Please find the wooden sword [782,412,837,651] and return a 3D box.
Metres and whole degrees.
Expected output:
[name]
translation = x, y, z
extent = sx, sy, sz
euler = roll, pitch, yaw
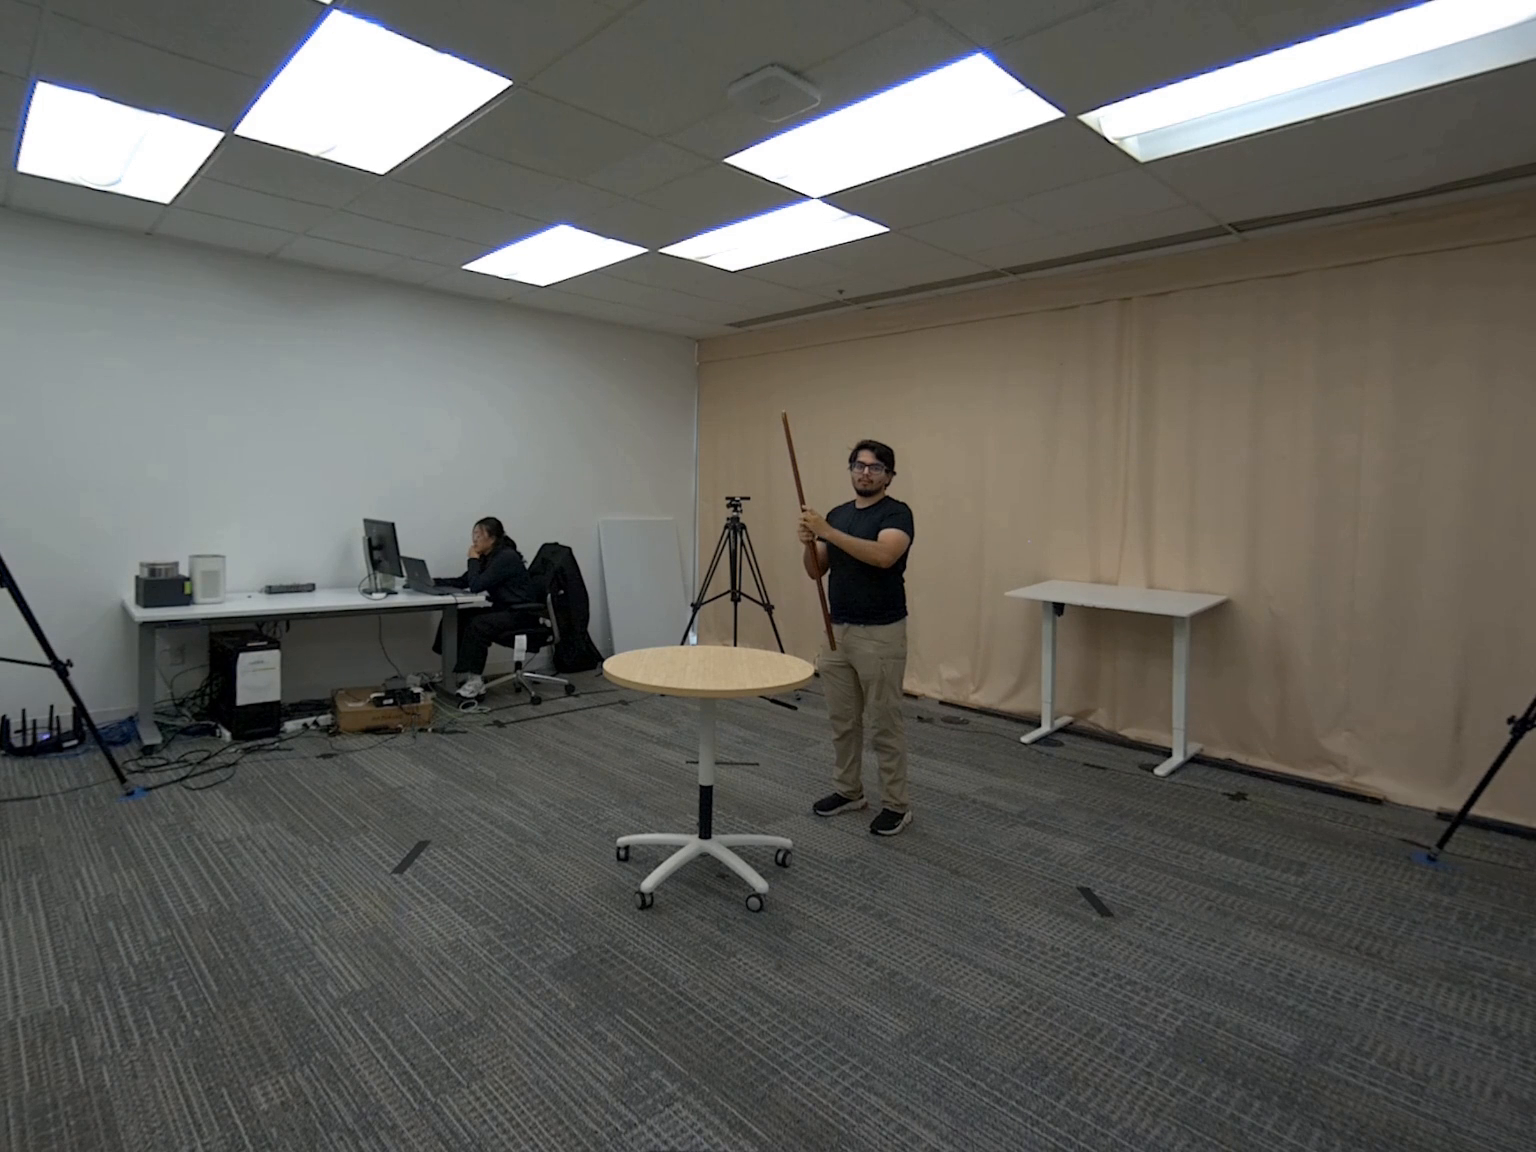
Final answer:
[wooden sword]
translation = 0.171, -0.201, 3.538
extent = 0.051, 1.026, 0.024
euler = -12, -1, 8
